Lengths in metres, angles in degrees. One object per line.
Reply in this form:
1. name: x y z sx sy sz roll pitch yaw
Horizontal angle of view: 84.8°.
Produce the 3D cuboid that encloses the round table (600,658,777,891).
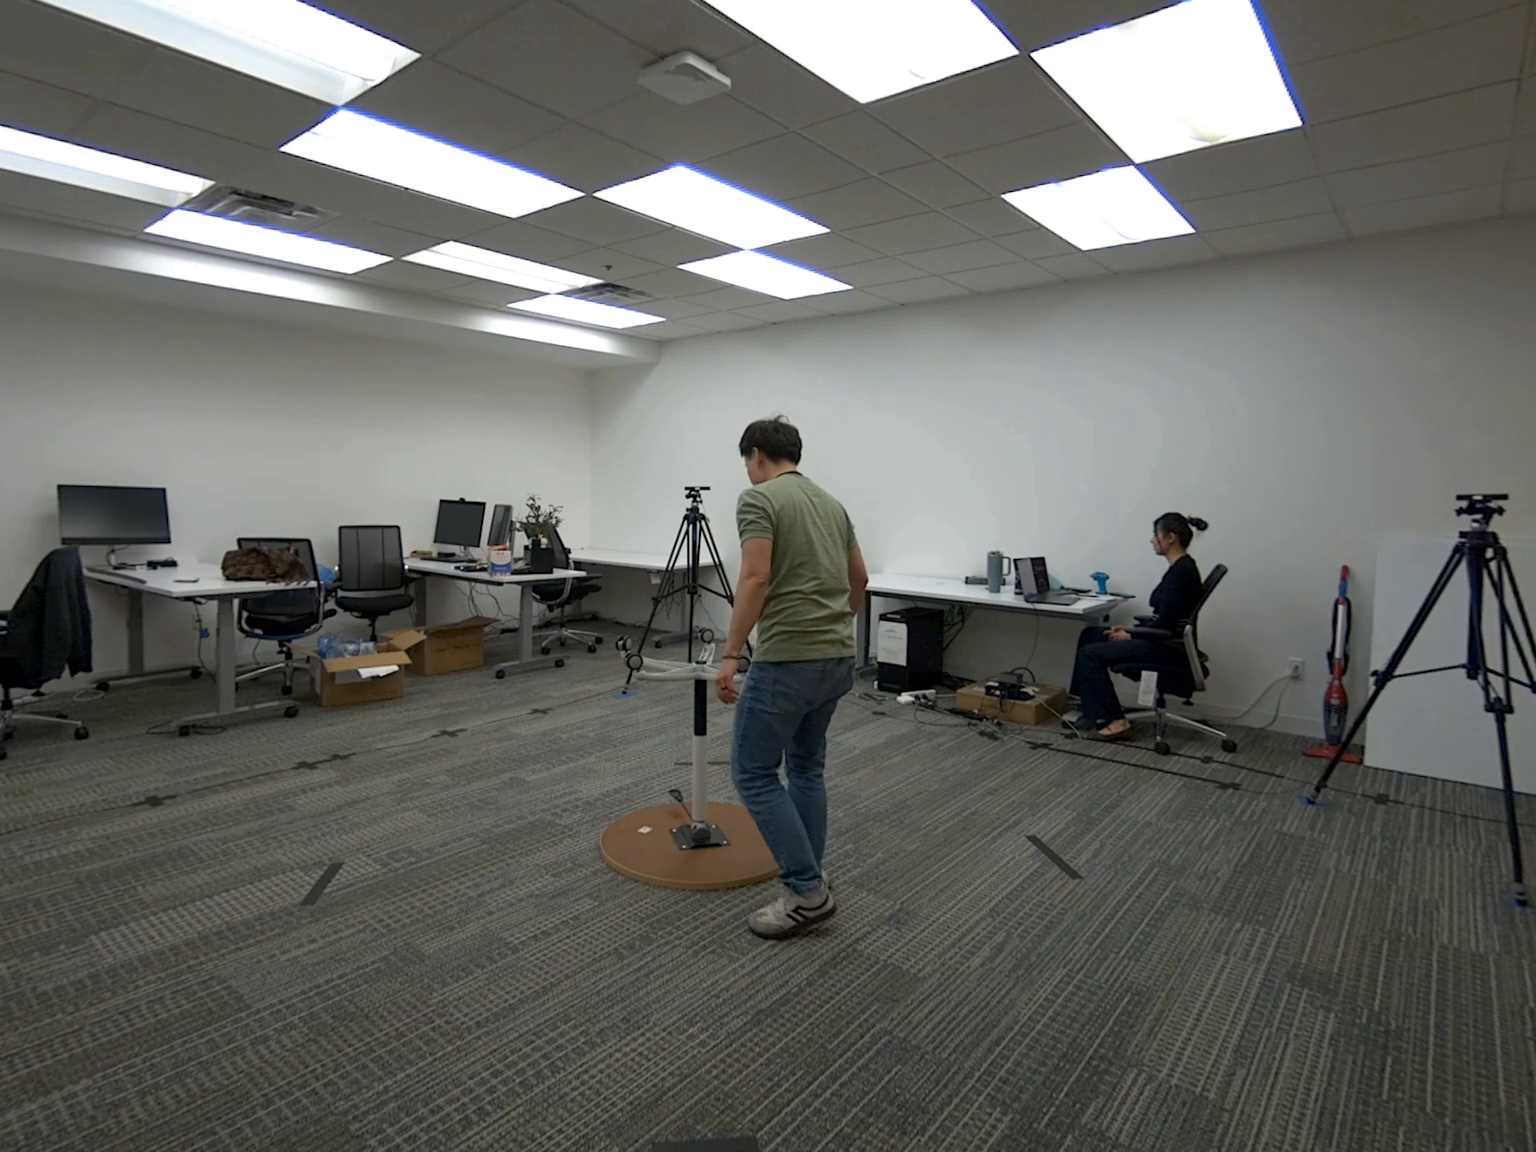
1. round table: -0.275 0.651 3.302 0.763 0.791 0.768 1 4 -2
